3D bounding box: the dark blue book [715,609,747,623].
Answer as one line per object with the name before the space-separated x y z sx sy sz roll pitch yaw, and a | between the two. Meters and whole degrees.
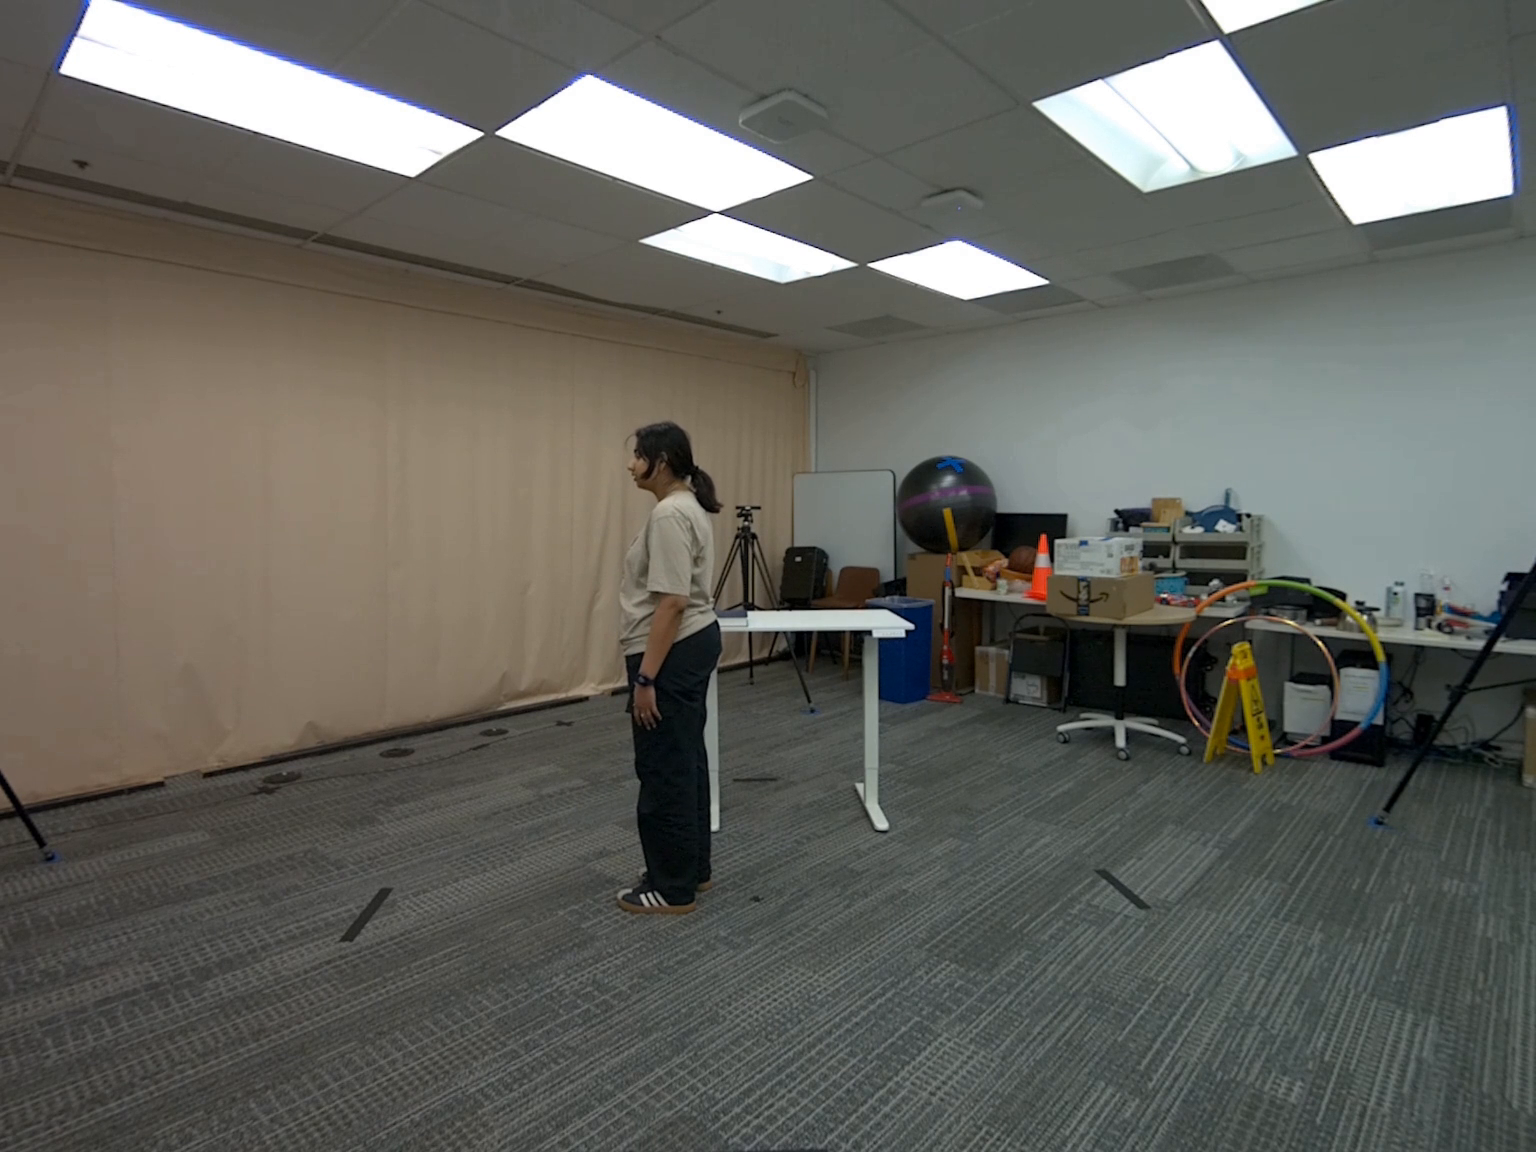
dark blue book | -0.175 0.184 3.703 0.163 0.045 0.245 0 4 0
